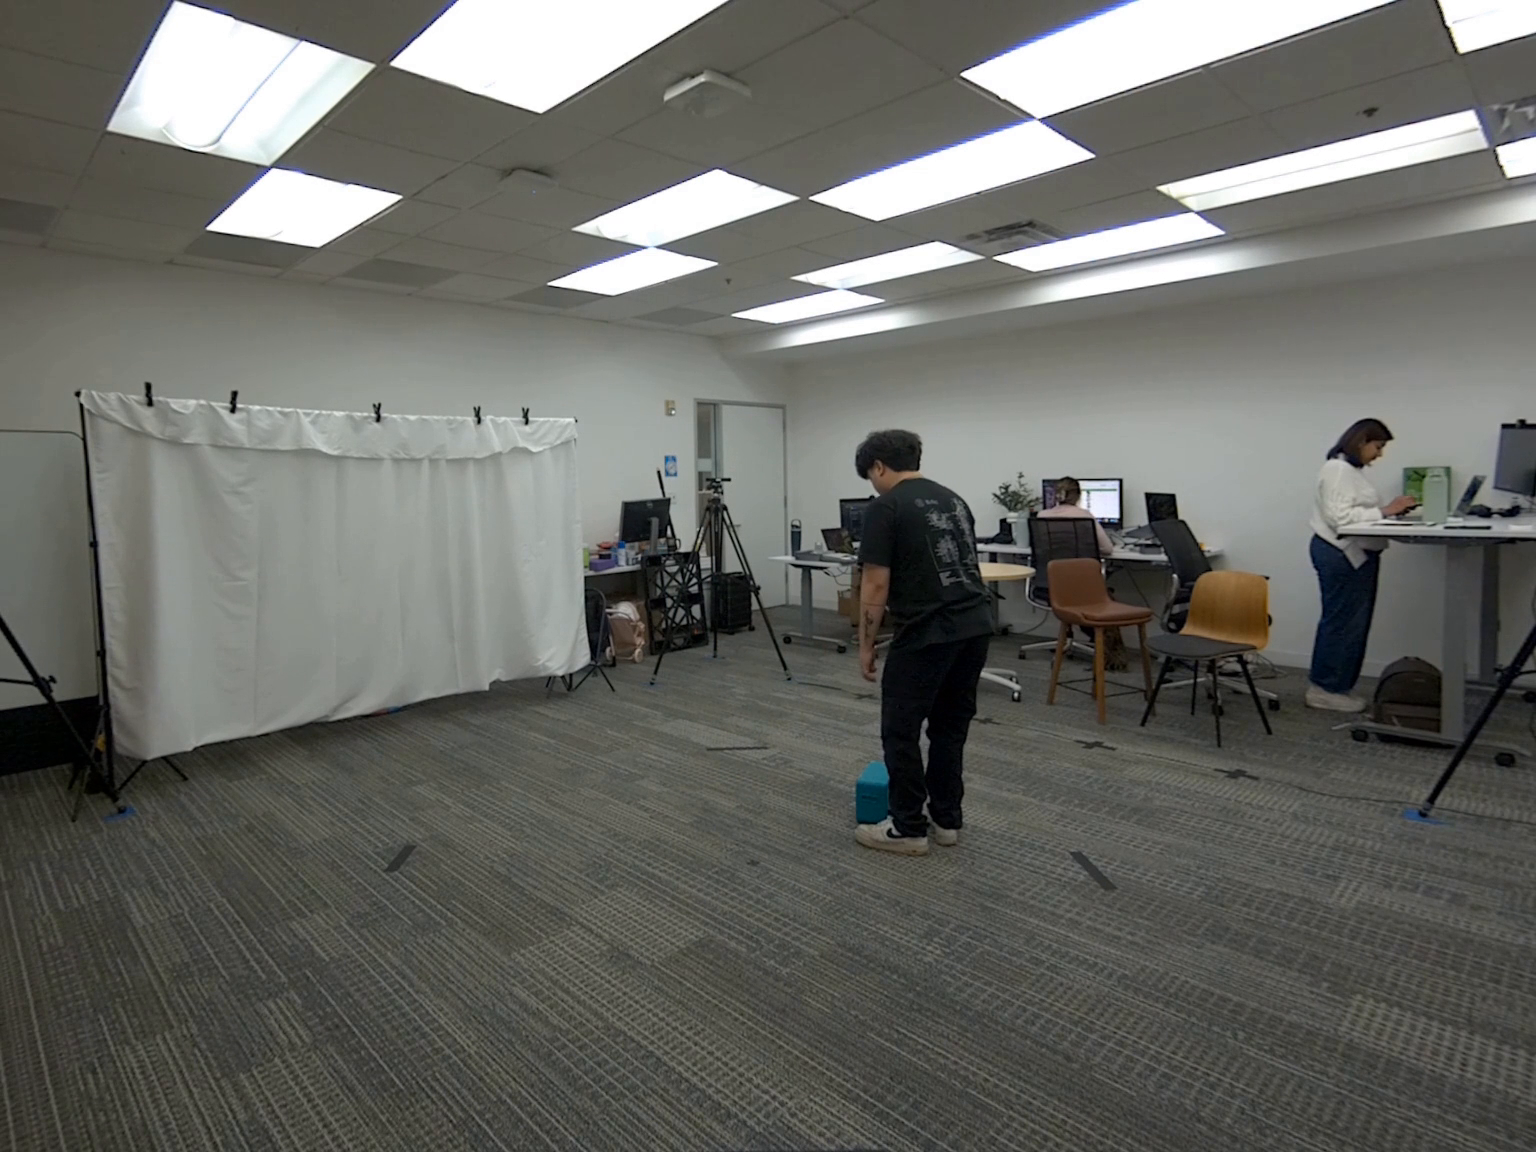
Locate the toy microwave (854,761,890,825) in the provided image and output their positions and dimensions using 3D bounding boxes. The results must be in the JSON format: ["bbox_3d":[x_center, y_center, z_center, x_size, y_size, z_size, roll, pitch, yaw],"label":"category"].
[{"bbox_3d":[0.453,0.892,3.528,0.156,0.183,0.281,2,6,22],"label":"toy microwave"}]
